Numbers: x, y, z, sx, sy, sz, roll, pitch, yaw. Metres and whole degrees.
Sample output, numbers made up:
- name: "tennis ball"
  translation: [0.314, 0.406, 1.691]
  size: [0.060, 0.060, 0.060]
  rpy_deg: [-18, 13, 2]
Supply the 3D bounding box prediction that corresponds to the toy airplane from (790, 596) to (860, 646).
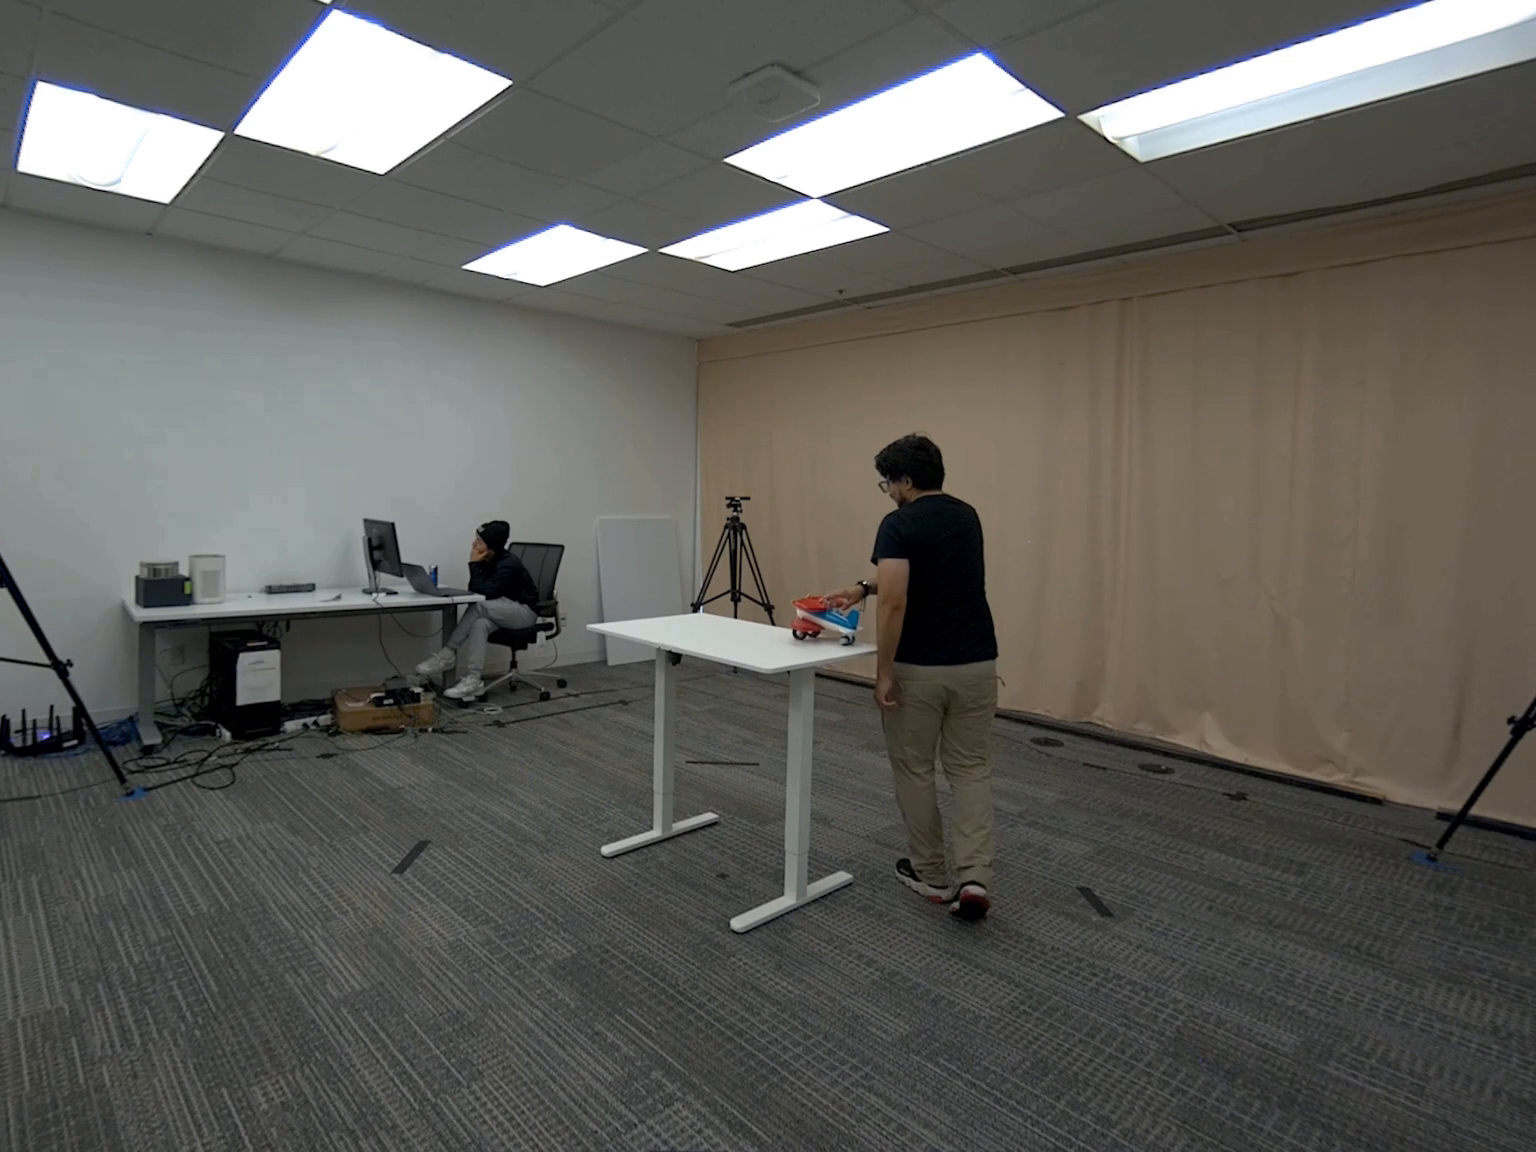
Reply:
- name: "toy airplane"
  translation: [0.217, 0.159, 3.059]
  size: [0.261, 0.156, 0.250]
  rpy_deg: [1, 6, 10]
